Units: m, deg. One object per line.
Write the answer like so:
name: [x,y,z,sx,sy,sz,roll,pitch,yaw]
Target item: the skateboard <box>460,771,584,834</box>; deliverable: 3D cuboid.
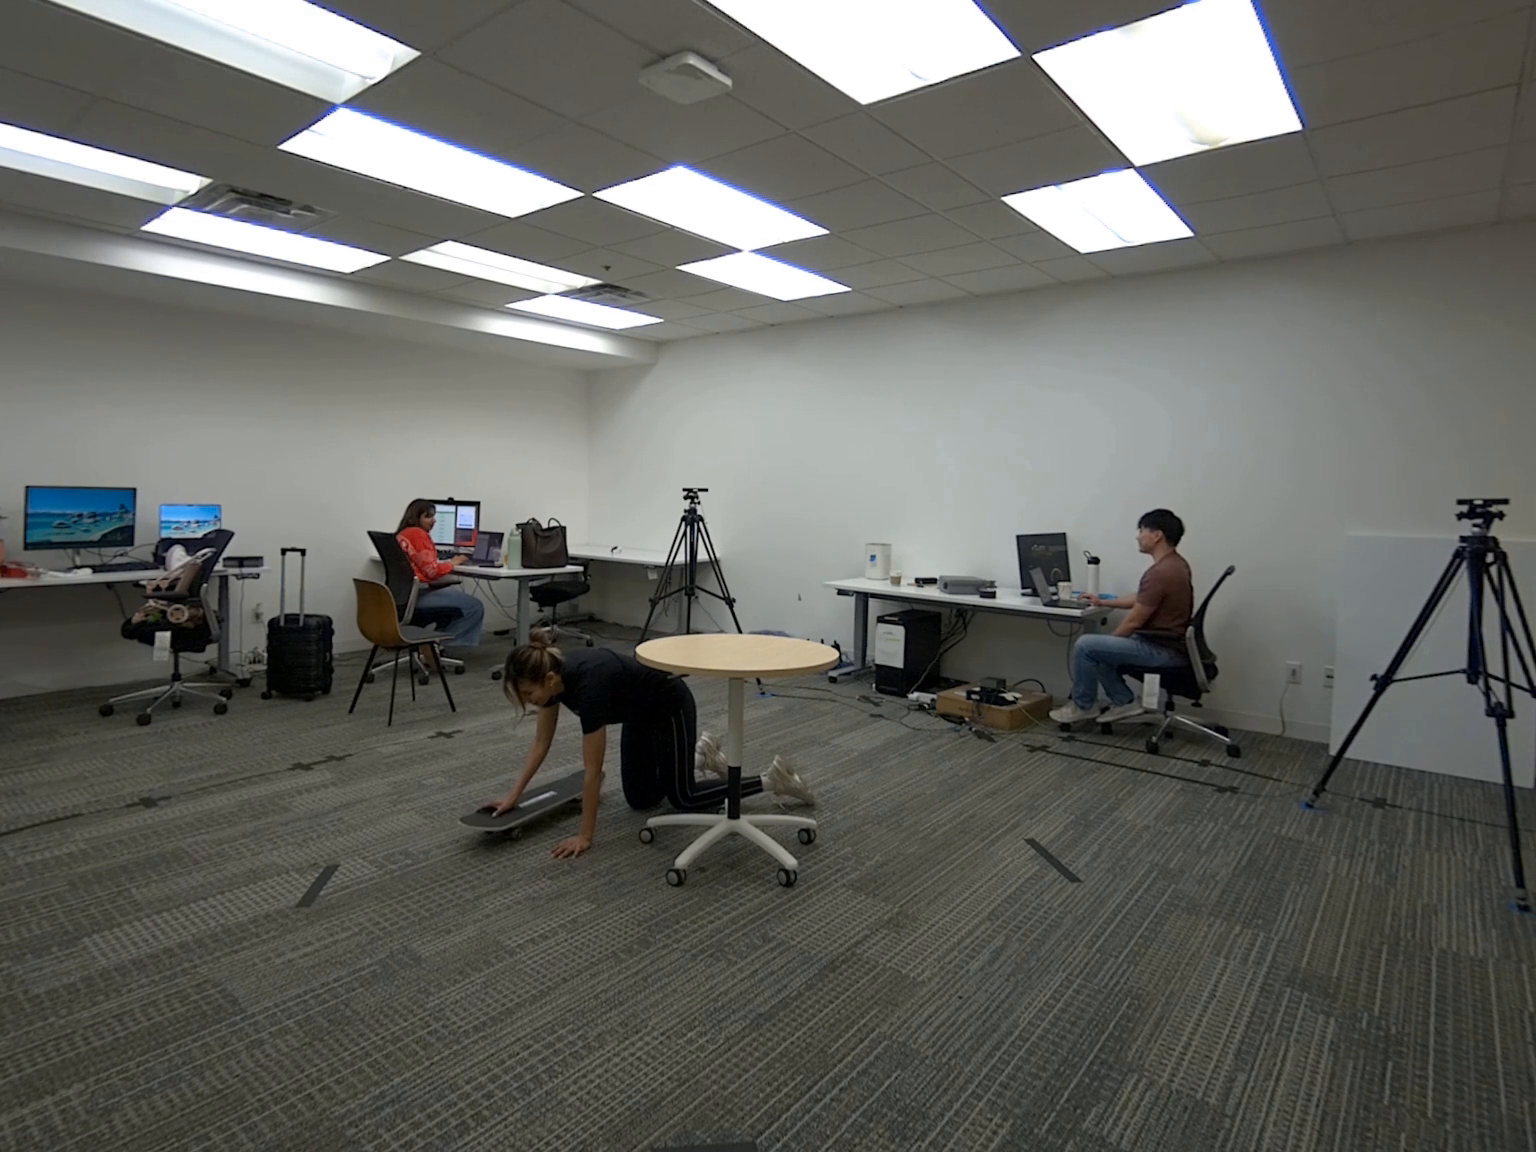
skateboard: [-0.970,0.964,3.551,0.199,0.110,0.765,3,6,31]
